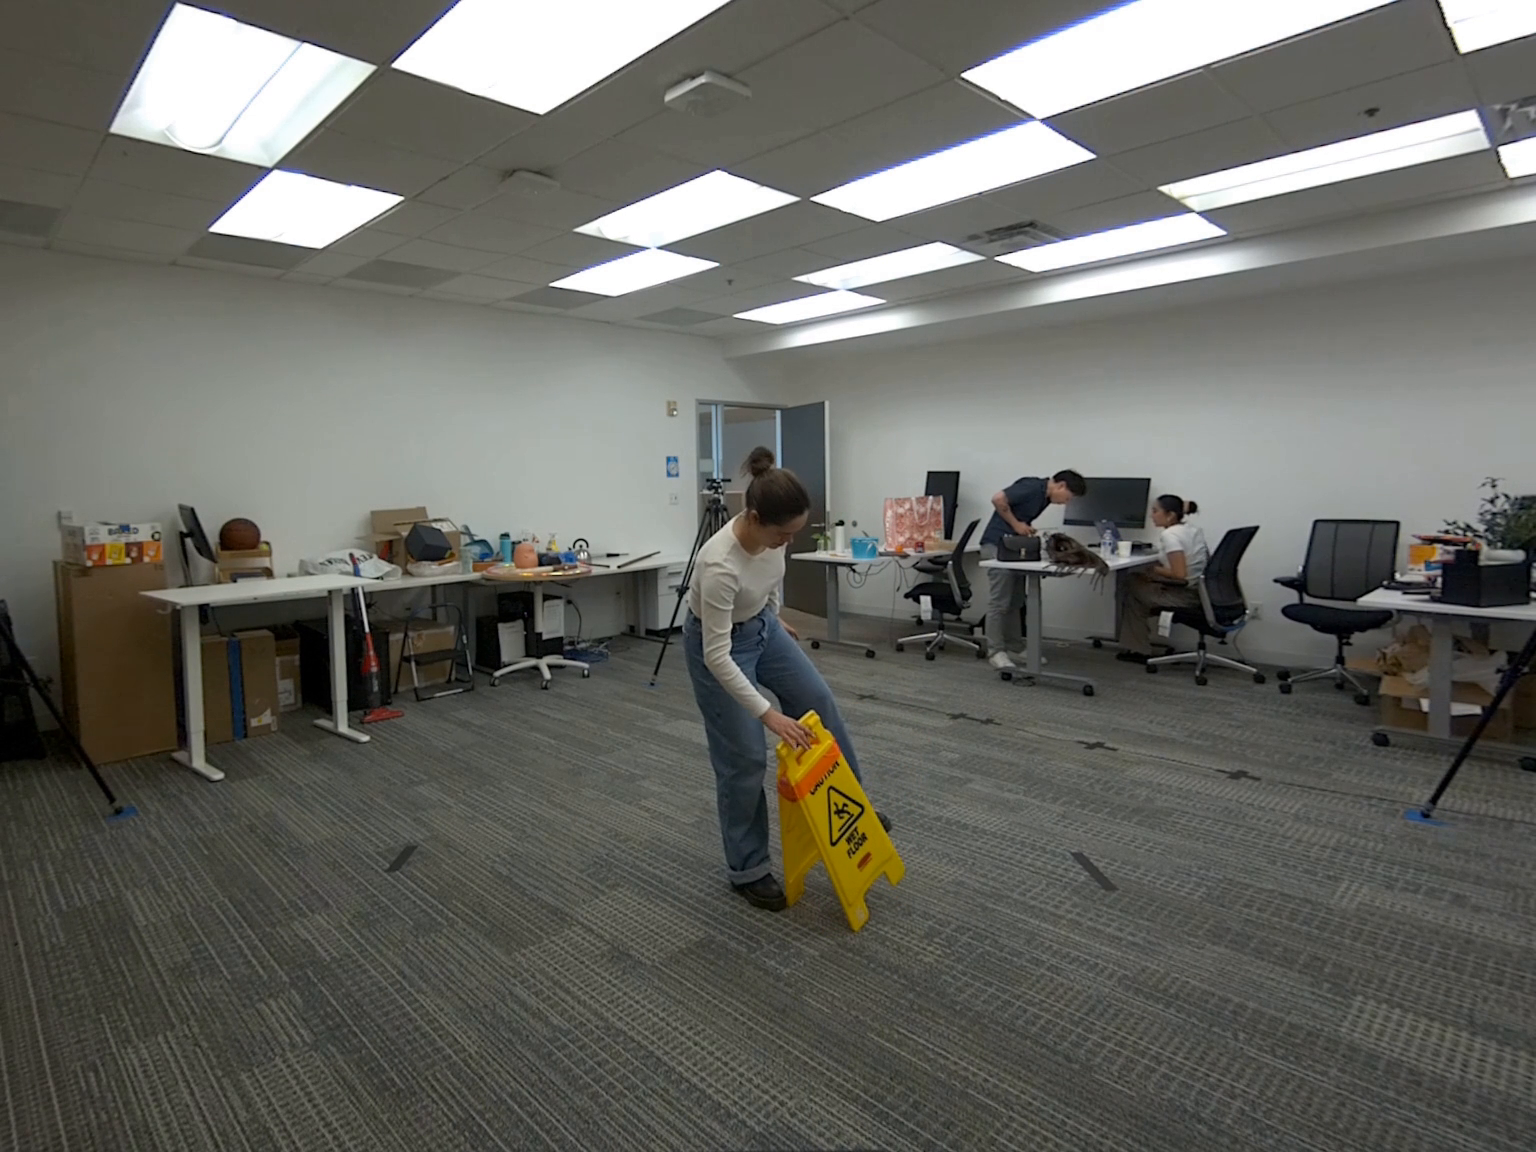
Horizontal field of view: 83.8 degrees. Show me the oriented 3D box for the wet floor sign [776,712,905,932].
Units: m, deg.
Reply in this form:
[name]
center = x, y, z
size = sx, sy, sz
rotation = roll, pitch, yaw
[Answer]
[wet floor sign]
center = 0.171, 0.745, 2.681
size = 0.298, 0.631, 0.280
rotation = 3, 29, 42
